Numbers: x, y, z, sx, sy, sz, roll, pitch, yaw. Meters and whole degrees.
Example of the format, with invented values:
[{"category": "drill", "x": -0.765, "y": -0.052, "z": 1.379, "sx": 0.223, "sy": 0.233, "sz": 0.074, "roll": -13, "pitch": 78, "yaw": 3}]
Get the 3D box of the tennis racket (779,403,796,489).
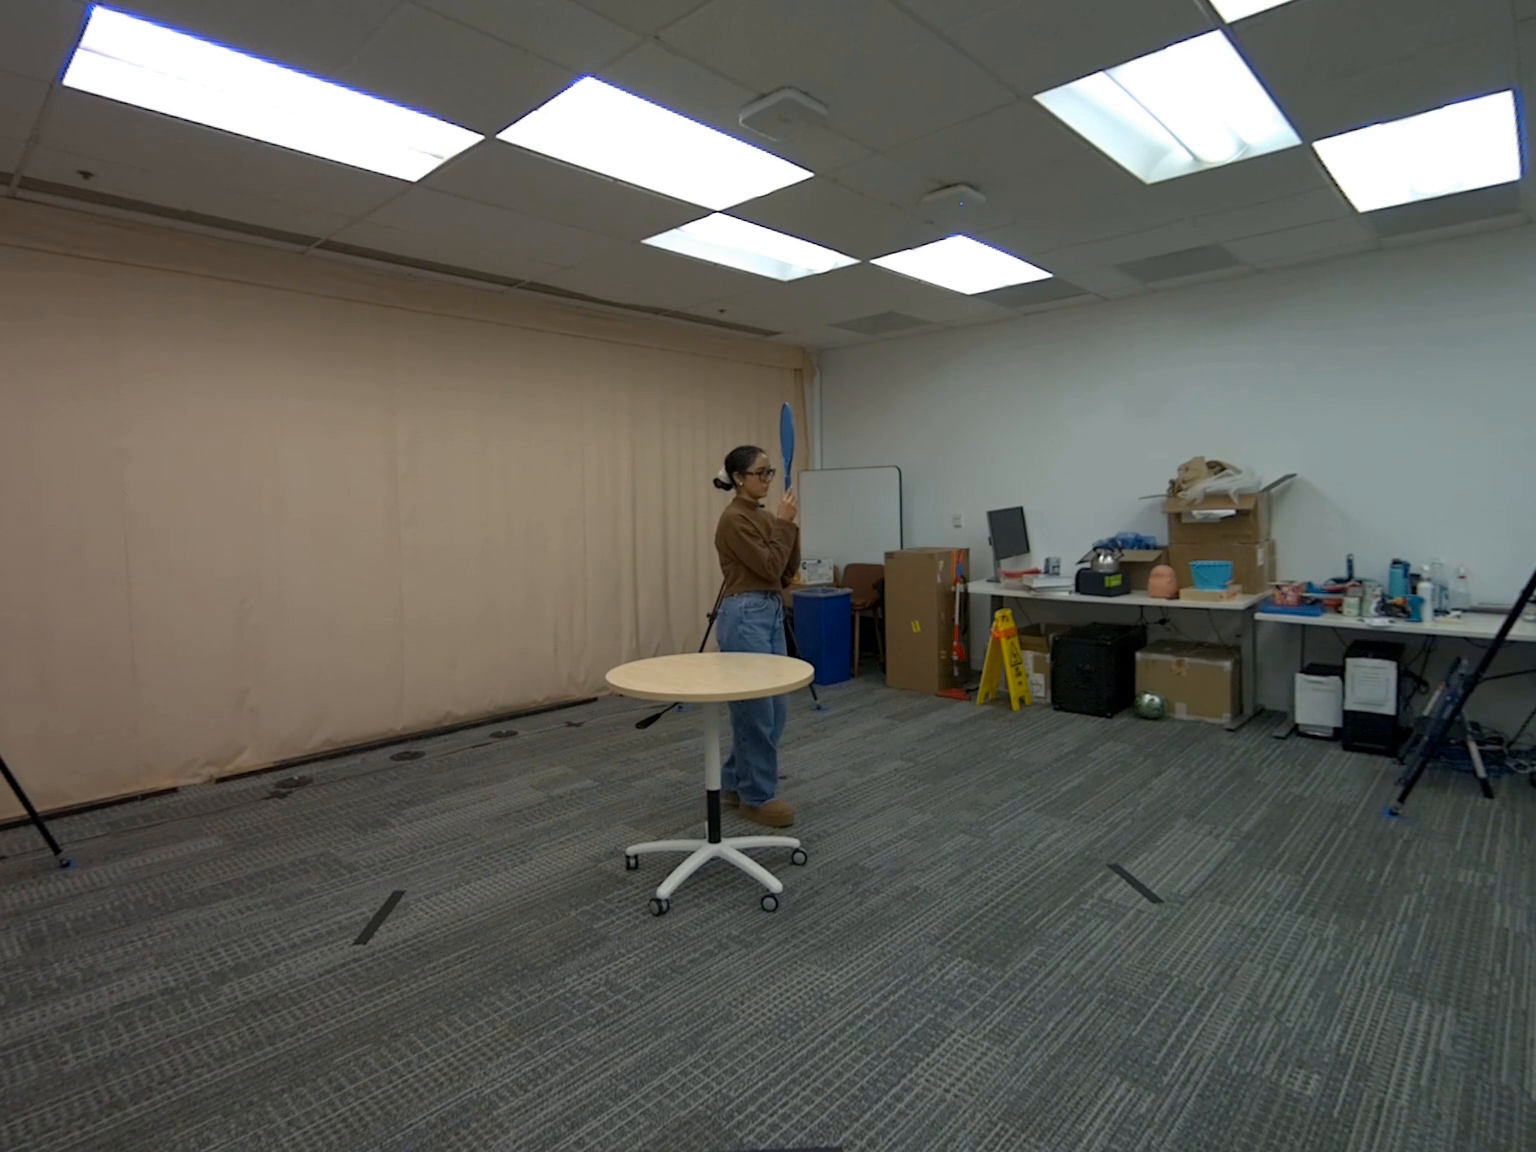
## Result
[{"category": "tennis racket", "x": 0.083, "y": -0.522, "z": 3.602, "sx": 0.031, "sy": 0.431, "sz": 0.217, "roll": -2, "pitch": 8, "yaw": -13}]
